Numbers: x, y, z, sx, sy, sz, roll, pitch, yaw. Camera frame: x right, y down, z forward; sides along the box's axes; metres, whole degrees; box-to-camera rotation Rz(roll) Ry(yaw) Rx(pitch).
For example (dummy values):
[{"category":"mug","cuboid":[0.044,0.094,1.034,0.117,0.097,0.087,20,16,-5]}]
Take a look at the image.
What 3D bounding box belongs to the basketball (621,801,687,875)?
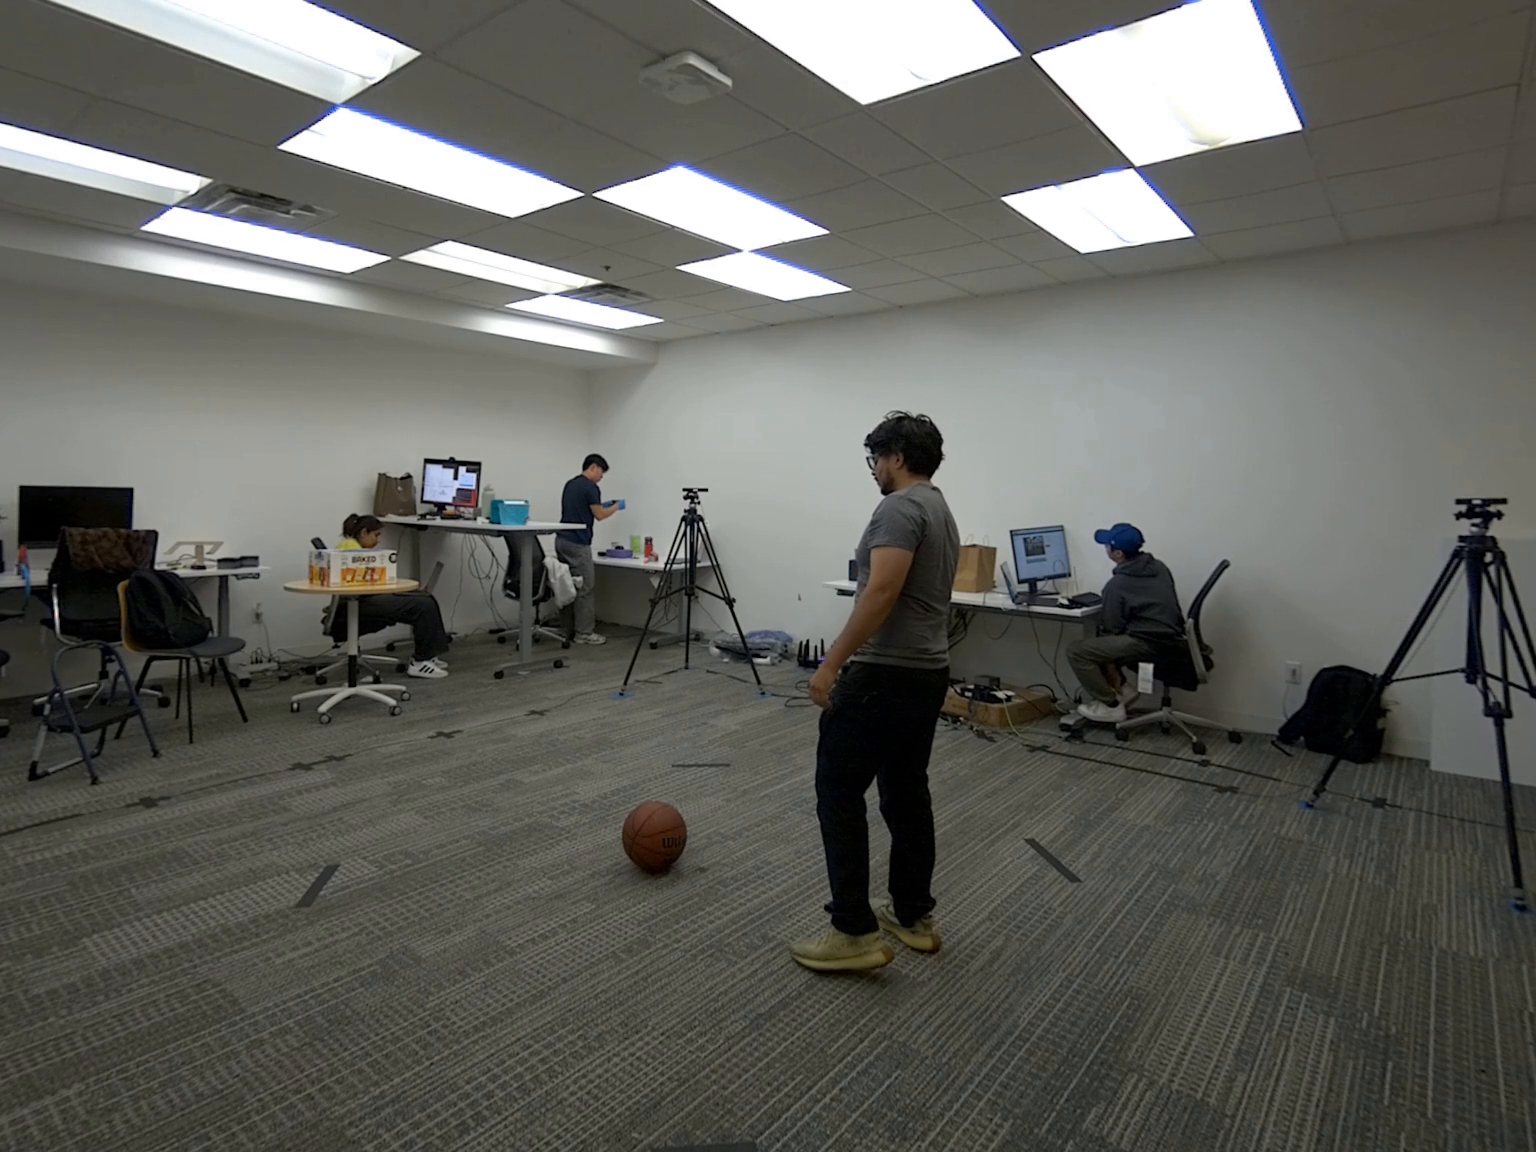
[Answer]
[{"category":"basketball","cuboid":[-0.424,0.946,3.109,0.235,0.235,0.237,1,4,-2]}]
